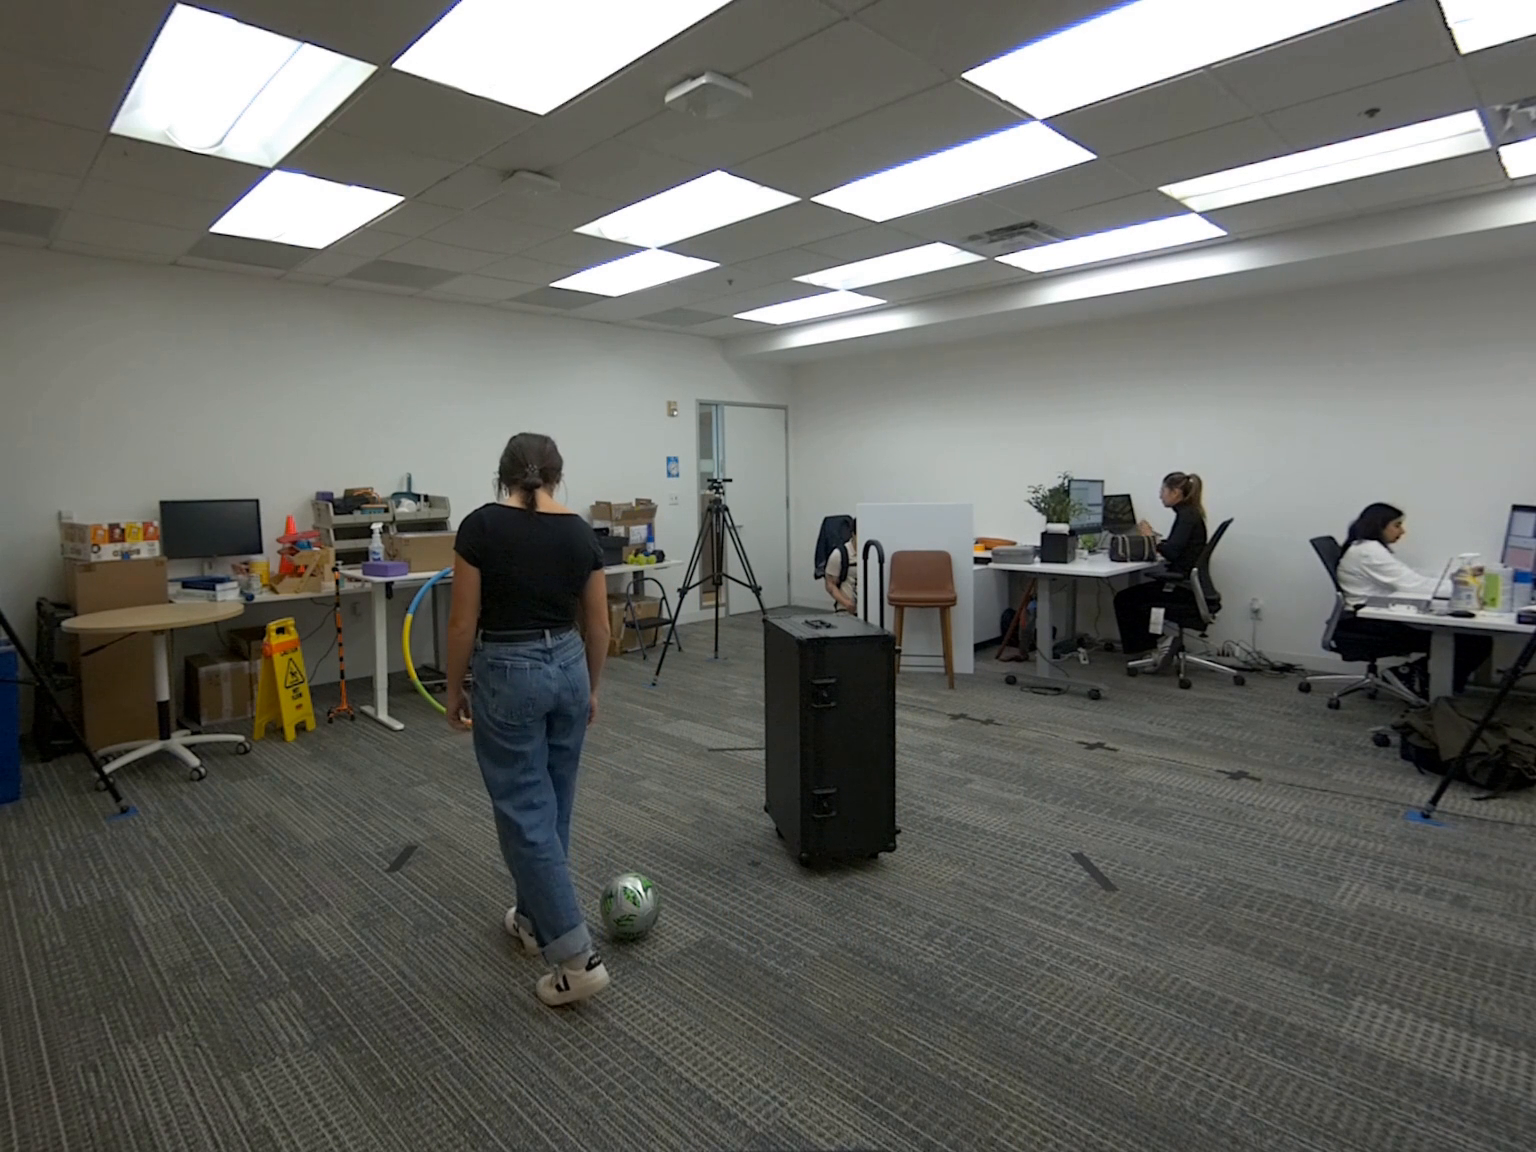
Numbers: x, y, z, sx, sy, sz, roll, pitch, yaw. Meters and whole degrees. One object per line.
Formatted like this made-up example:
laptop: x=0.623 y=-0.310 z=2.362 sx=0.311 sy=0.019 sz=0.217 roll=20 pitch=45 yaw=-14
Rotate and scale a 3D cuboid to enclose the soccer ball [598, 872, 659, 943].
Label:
soccer ball: x=-0.417 y=1.017 z=2.634 sx=0.187 sy=0.187 sz=0.188 roll=-1 pitch=5 yaw=-2
